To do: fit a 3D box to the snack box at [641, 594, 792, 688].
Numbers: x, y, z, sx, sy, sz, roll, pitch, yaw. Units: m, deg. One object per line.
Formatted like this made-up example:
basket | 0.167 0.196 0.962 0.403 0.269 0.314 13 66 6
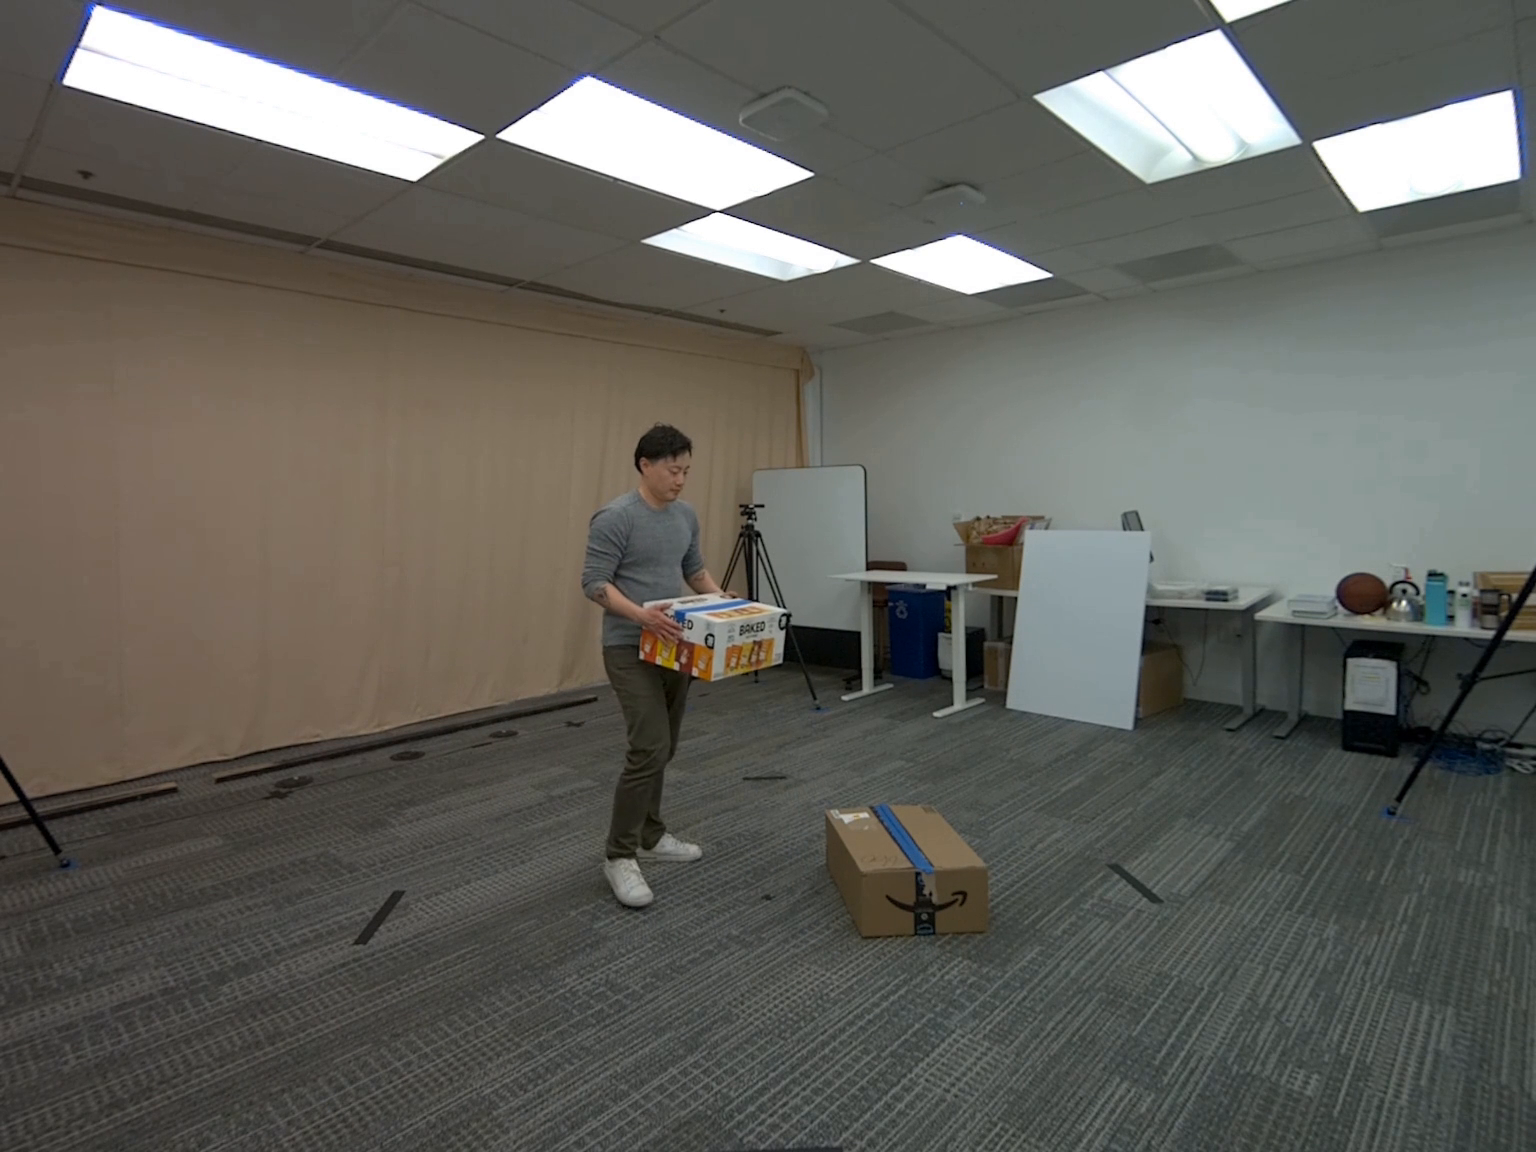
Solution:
snack box | -0.179 0.213 2.983 0.352 0.205 0.394 11 11 35
